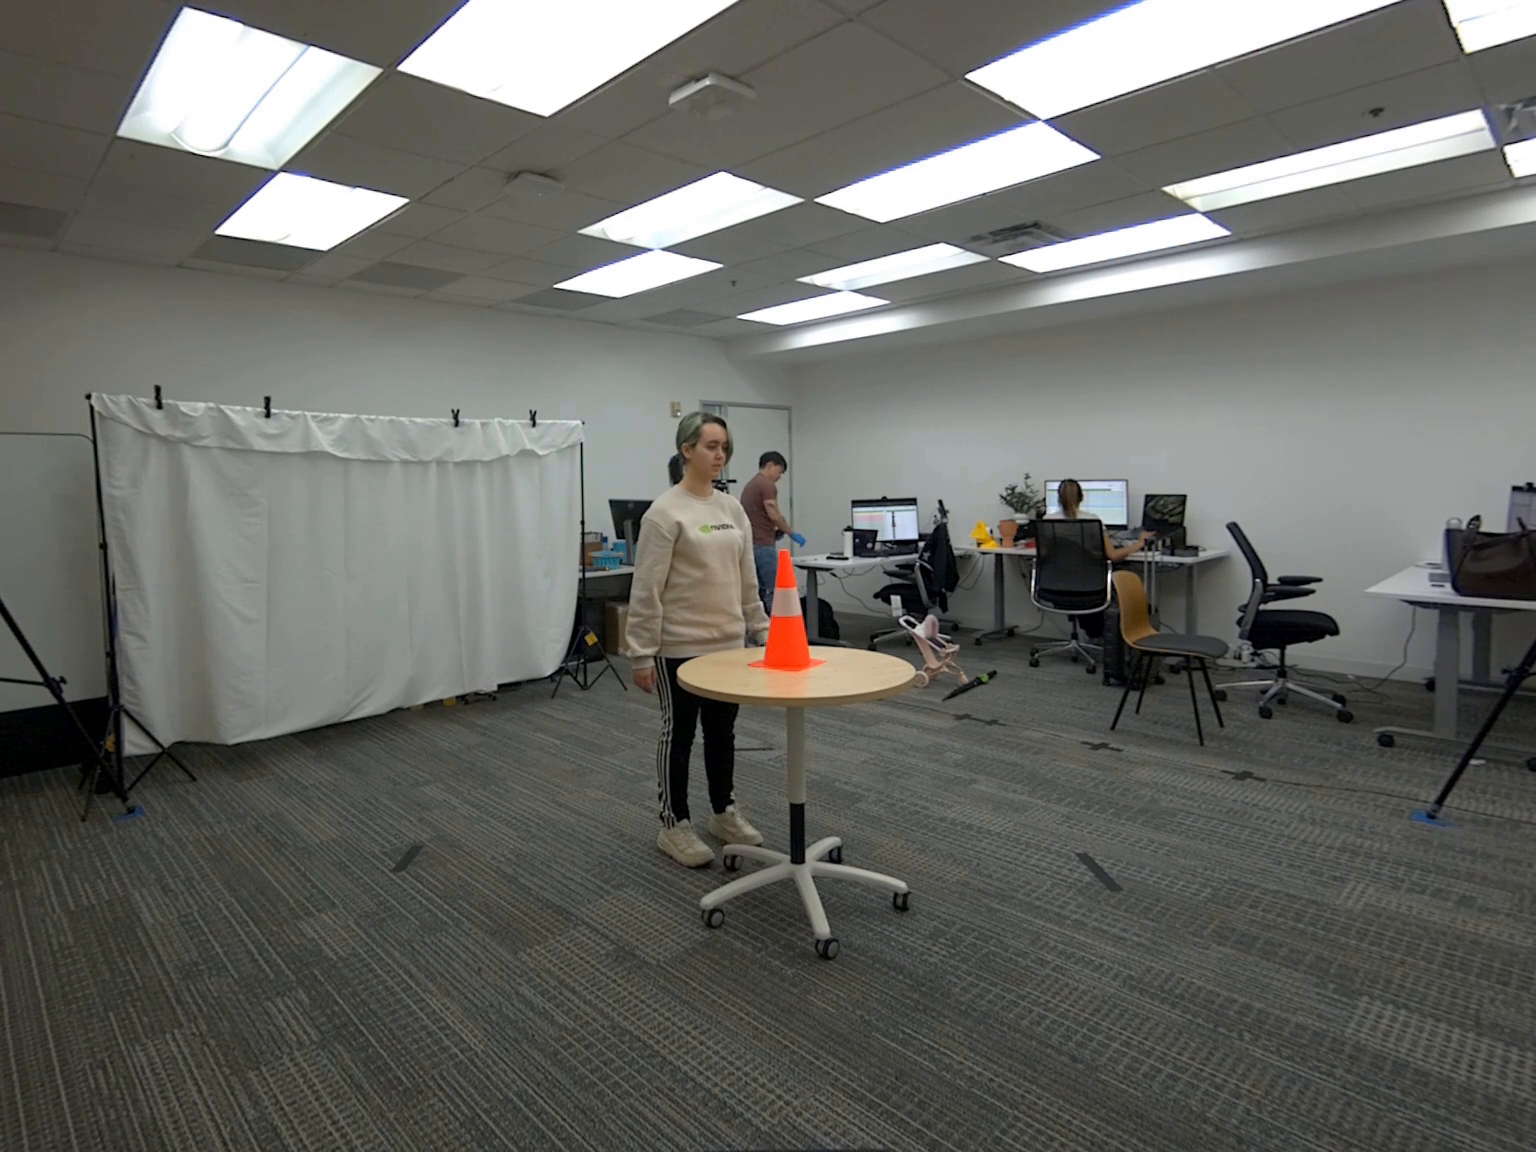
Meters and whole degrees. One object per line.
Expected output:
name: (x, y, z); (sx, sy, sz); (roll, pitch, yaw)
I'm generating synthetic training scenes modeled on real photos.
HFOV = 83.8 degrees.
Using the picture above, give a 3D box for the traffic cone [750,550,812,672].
traffic cone: (0.060, 0.107, 2.828); (0.209, 0.382, 0.200); (3, 7, 40)
